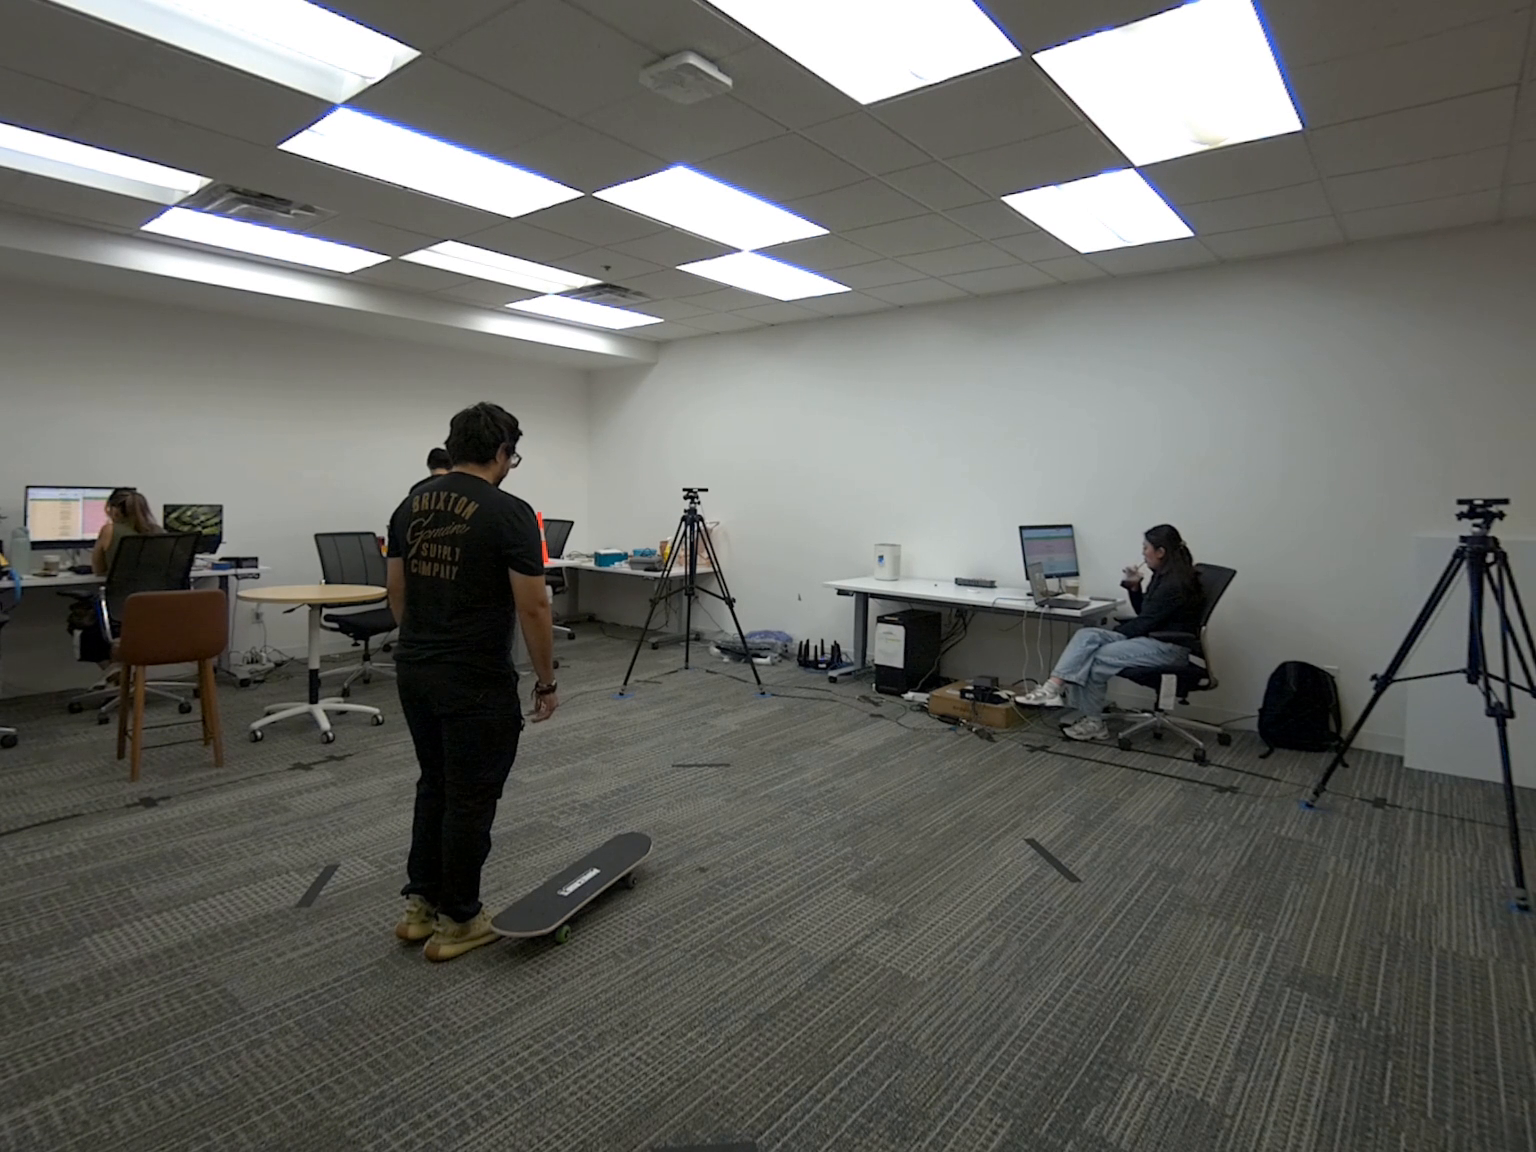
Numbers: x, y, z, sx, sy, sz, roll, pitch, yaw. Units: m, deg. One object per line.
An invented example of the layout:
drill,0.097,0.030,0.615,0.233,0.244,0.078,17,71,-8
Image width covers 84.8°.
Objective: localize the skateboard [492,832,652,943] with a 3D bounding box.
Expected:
skateboard,-0.629,1.035,2.810,0.198,0.110,0.770,2,6,22
